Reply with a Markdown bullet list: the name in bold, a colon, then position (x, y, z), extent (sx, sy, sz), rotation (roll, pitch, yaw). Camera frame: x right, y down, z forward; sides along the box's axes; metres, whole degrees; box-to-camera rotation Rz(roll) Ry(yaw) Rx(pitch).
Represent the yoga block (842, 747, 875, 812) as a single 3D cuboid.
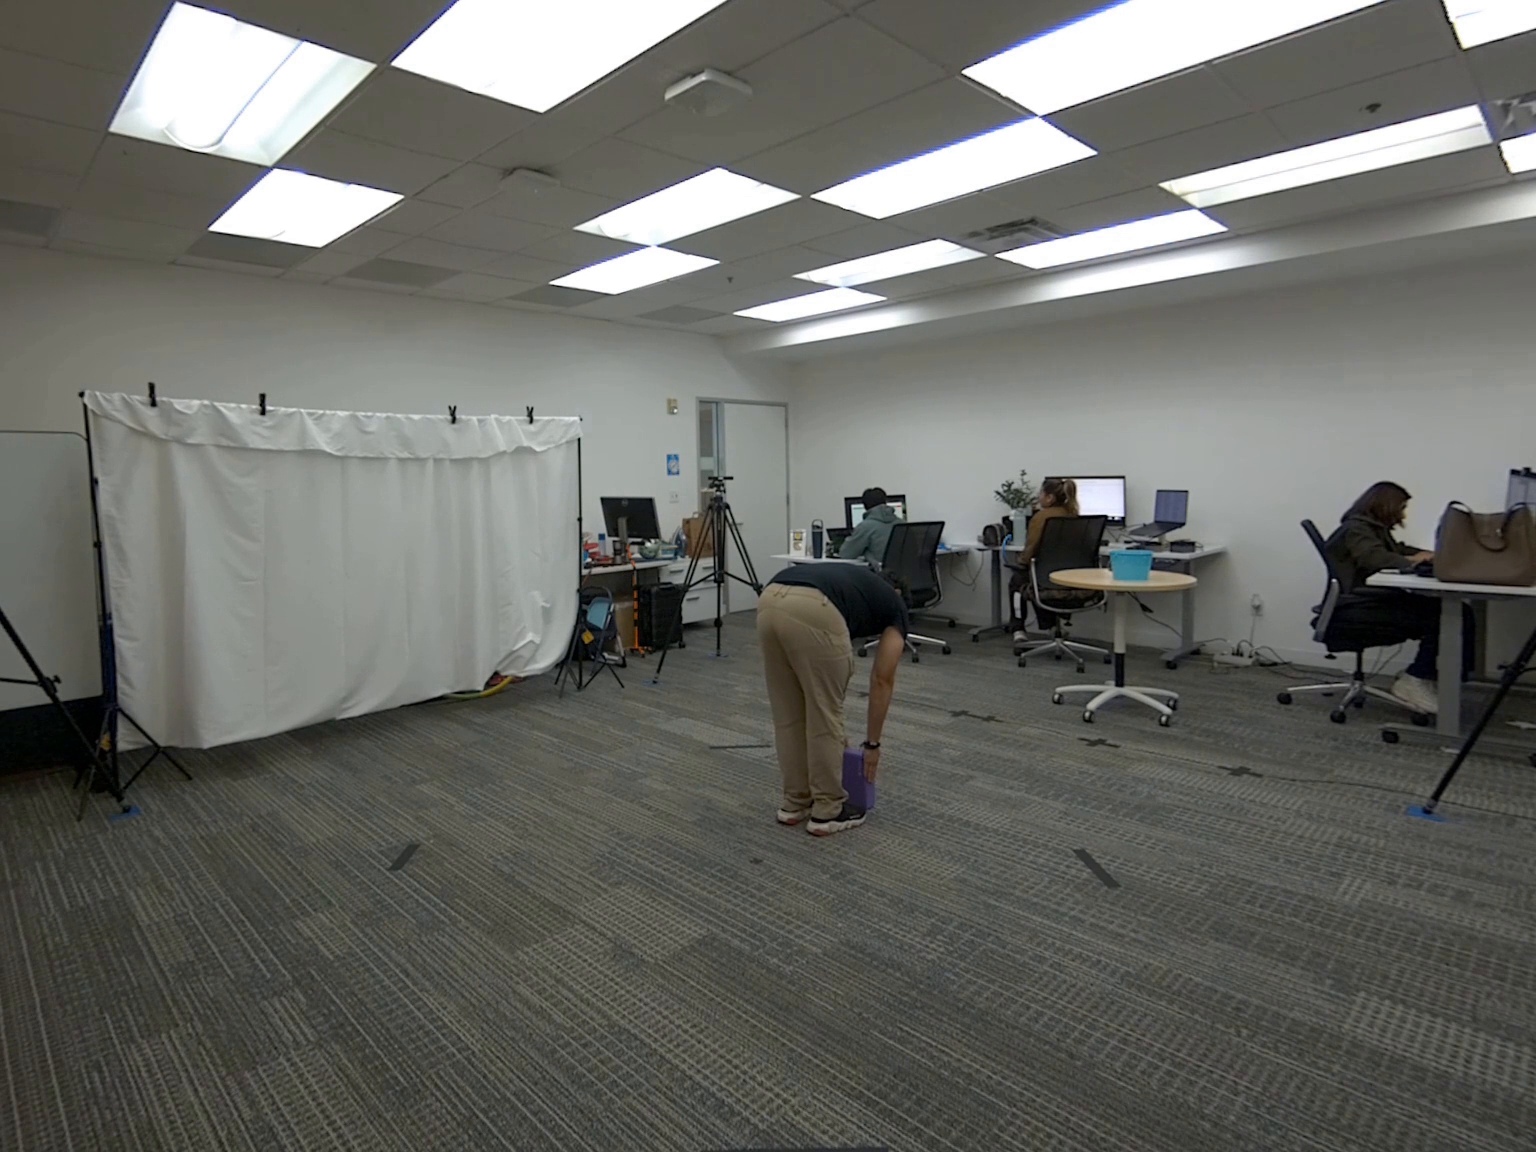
- **yoga block**: position (0.375, 0.858, 3.624), extent (0.074, 0.229, 0.153), rotation (-4, 4, -44)
